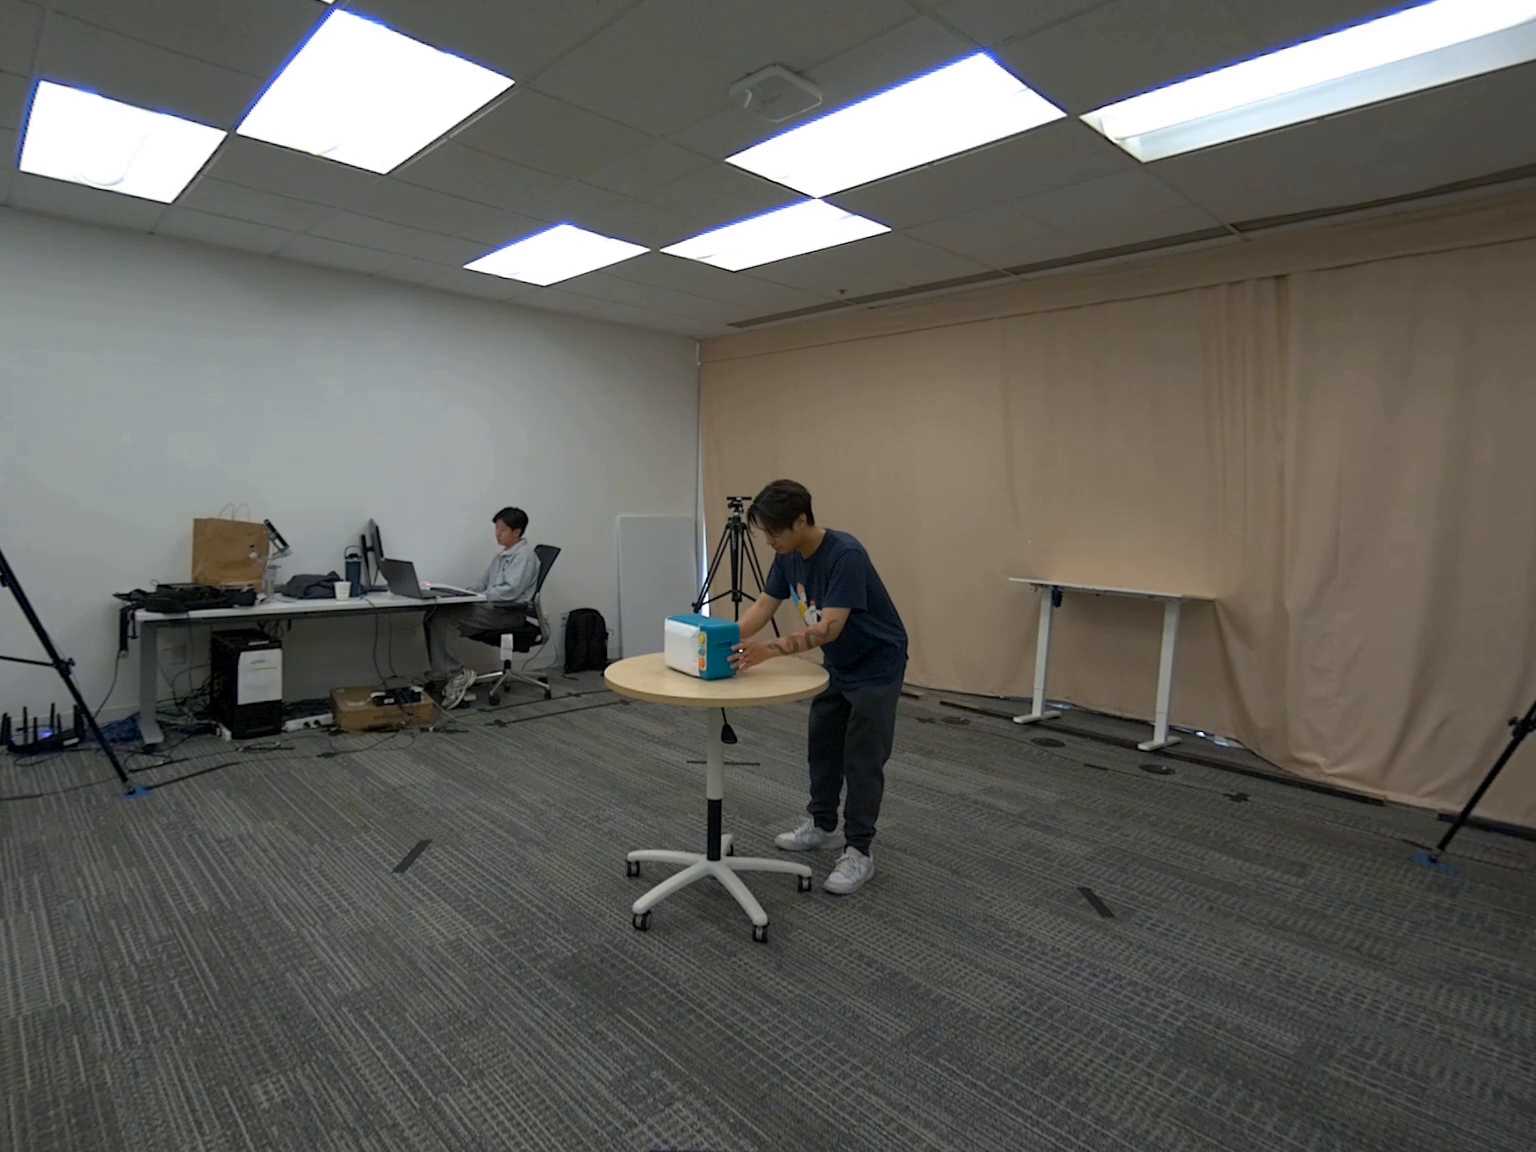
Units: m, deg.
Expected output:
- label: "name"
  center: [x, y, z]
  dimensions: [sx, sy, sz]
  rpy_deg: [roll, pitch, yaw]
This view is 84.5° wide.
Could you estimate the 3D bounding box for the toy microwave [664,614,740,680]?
- label: "toy microwave"
  center: [-0.238, 0.239, 2.843]
  dimensions: [0.149, 0.183, 0.293]
  rpy_deg: [-3, 6, -36]
